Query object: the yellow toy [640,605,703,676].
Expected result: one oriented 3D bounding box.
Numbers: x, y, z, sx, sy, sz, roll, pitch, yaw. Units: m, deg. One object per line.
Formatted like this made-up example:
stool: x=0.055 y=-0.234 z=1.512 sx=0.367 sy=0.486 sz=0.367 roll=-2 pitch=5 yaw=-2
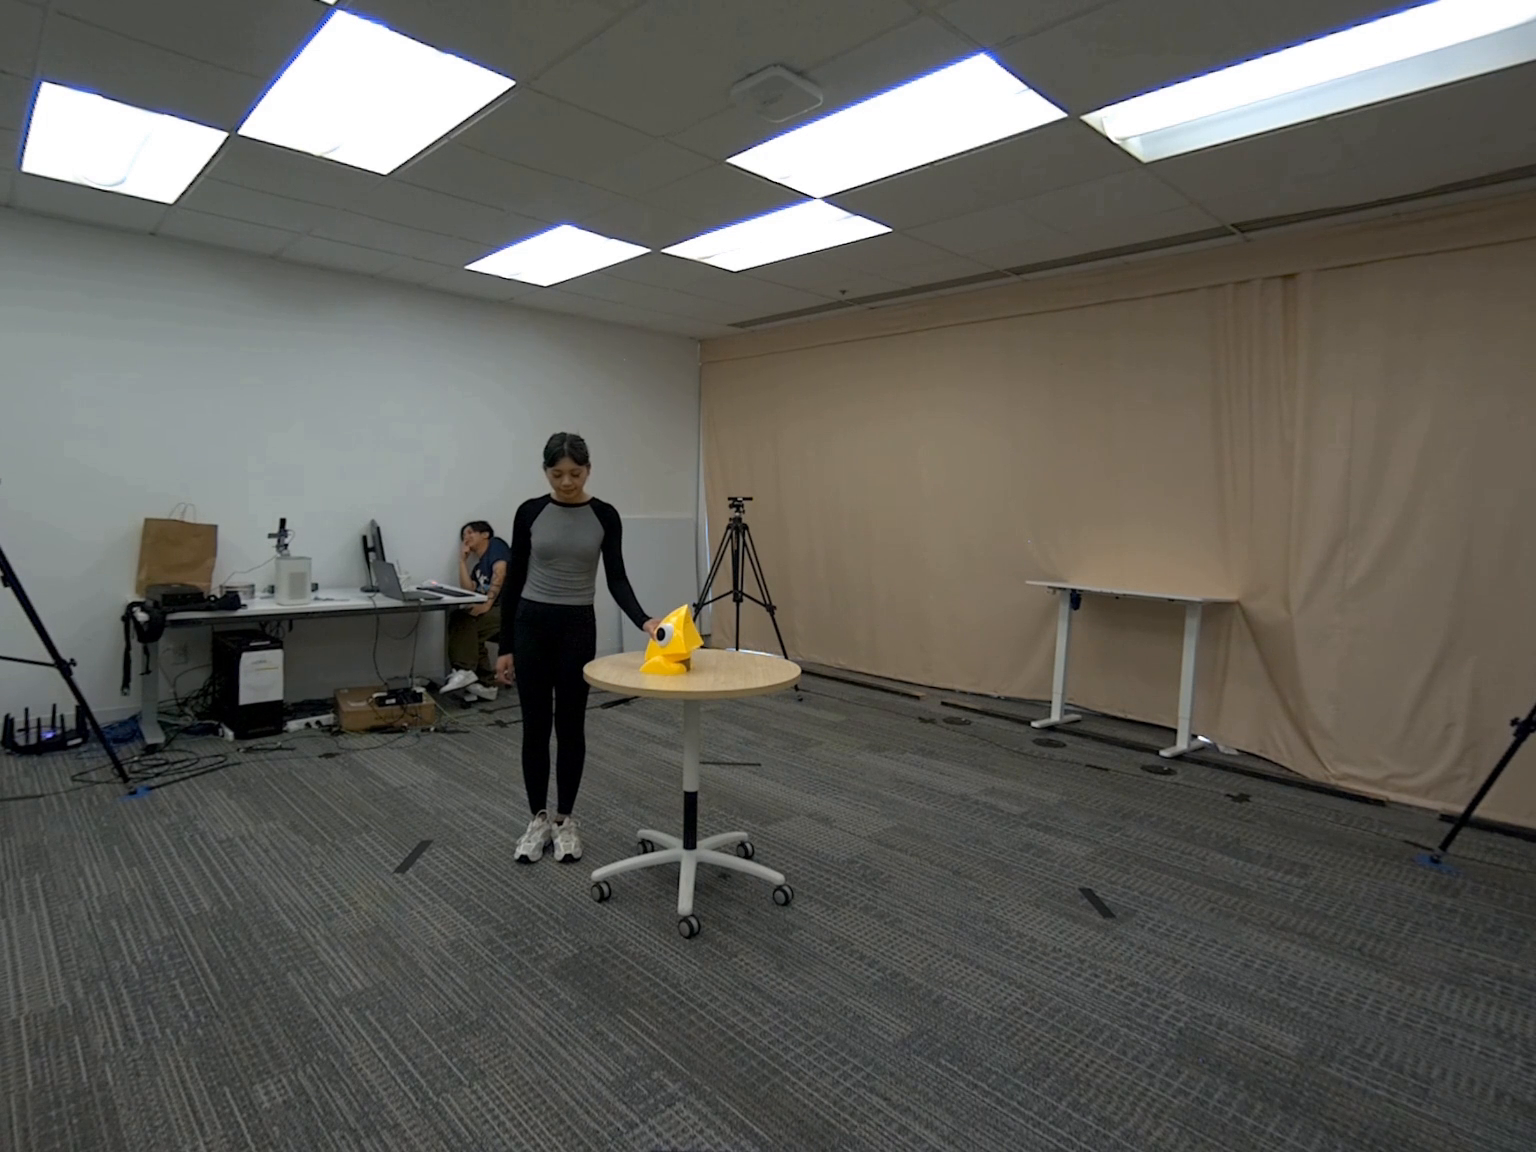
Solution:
yellow toy: x=-0.347 y=0.210 z=2.934 sx=0.195 sy=0.230 sz=0.202 roll=2 pitch=3 yaw=15
